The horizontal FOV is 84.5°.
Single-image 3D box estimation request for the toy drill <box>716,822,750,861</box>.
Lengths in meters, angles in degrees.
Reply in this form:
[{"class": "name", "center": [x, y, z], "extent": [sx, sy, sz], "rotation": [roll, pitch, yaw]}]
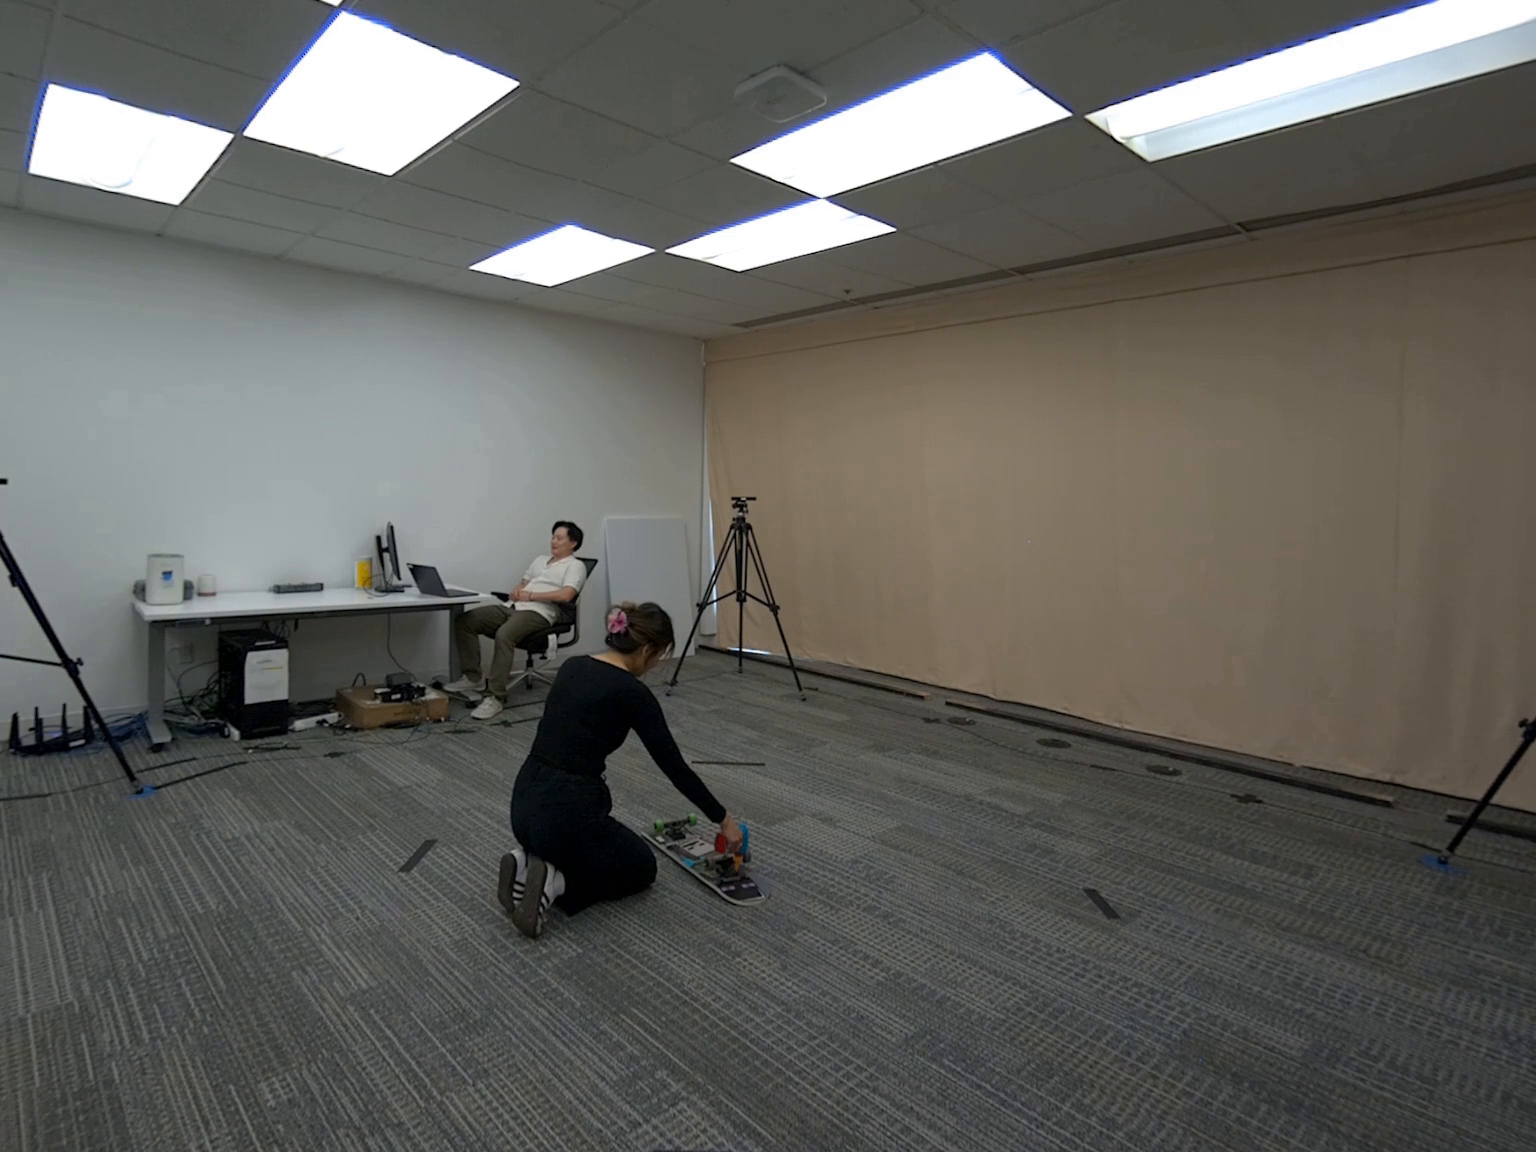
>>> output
[{"class": "toy drill", "center": [-0.130, 0.985, 2.997], "extent": [0.063, 0.169, 0.142], "rotation": [9, 5, 41]}]
